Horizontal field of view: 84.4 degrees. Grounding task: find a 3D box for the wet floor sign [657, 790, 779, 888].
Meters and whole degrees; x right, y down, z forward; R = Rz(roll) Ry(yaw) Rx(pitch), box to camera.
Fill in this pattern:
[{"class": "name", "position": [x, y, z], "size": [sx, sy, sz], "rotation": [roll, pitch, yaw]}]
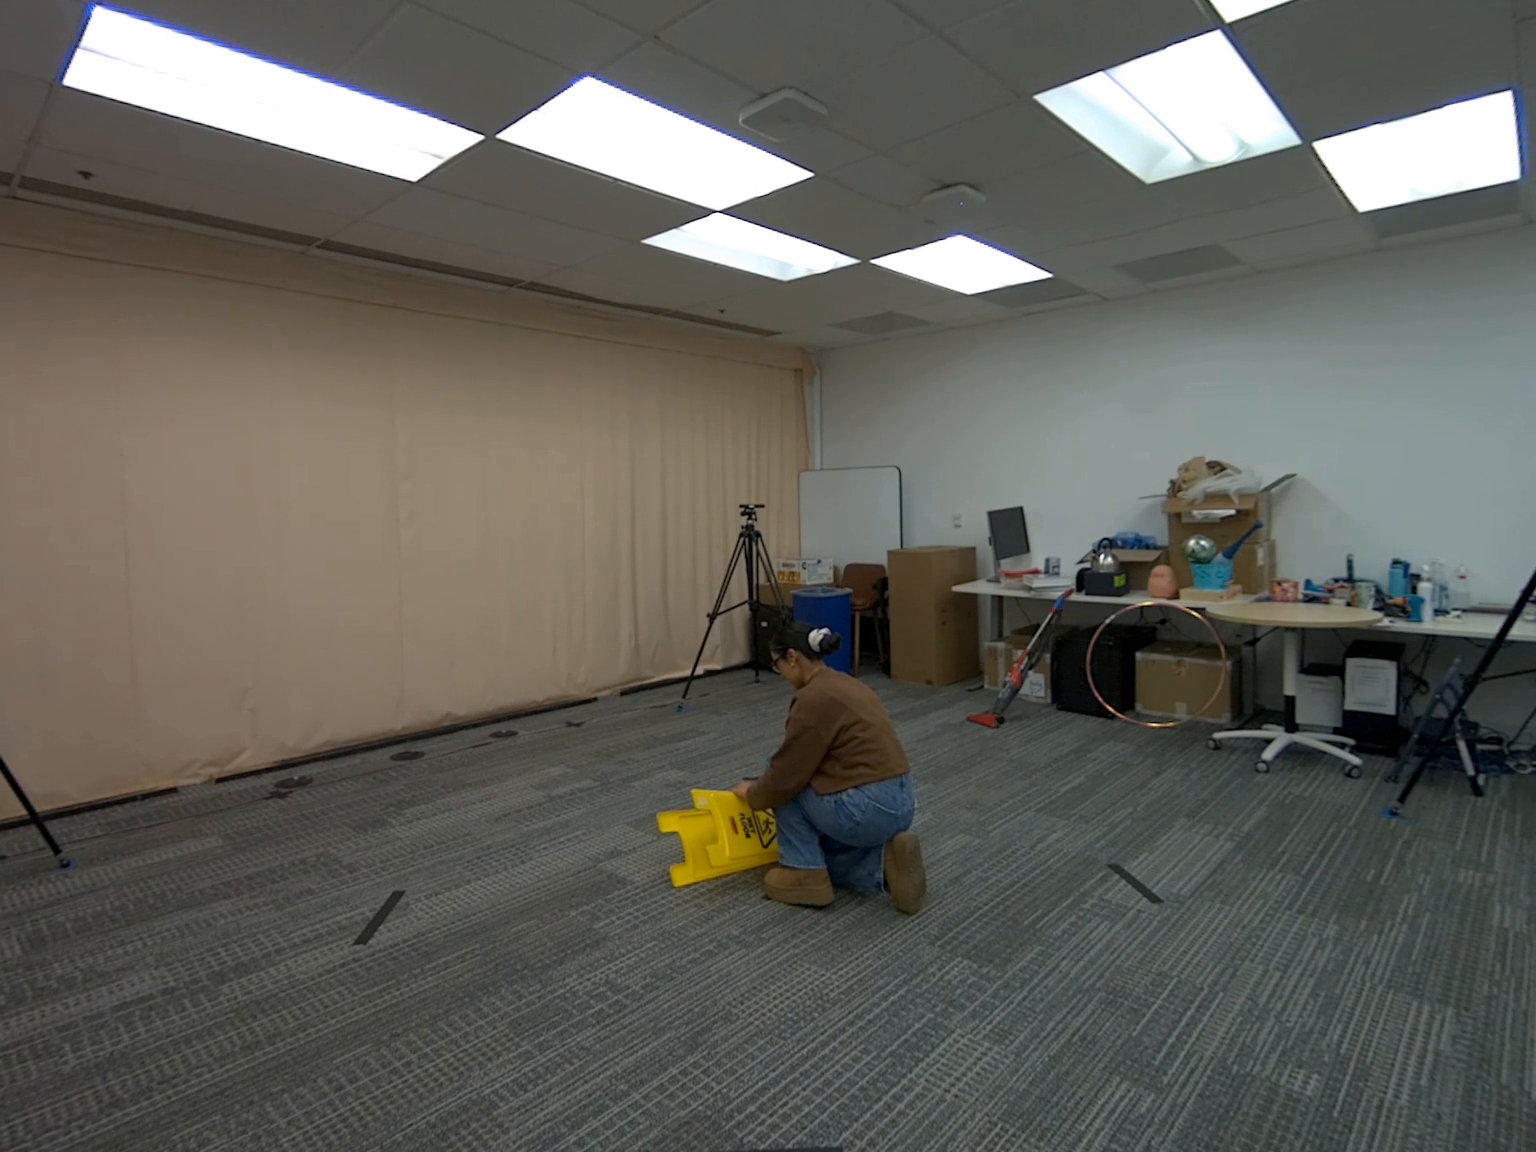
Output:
[{"class": "wet floor sign", "position": [-0.059, 0.988, 3.244], "size": [0.625, 0.289, 0.292], "rotation": [6, -38, -38]}]
